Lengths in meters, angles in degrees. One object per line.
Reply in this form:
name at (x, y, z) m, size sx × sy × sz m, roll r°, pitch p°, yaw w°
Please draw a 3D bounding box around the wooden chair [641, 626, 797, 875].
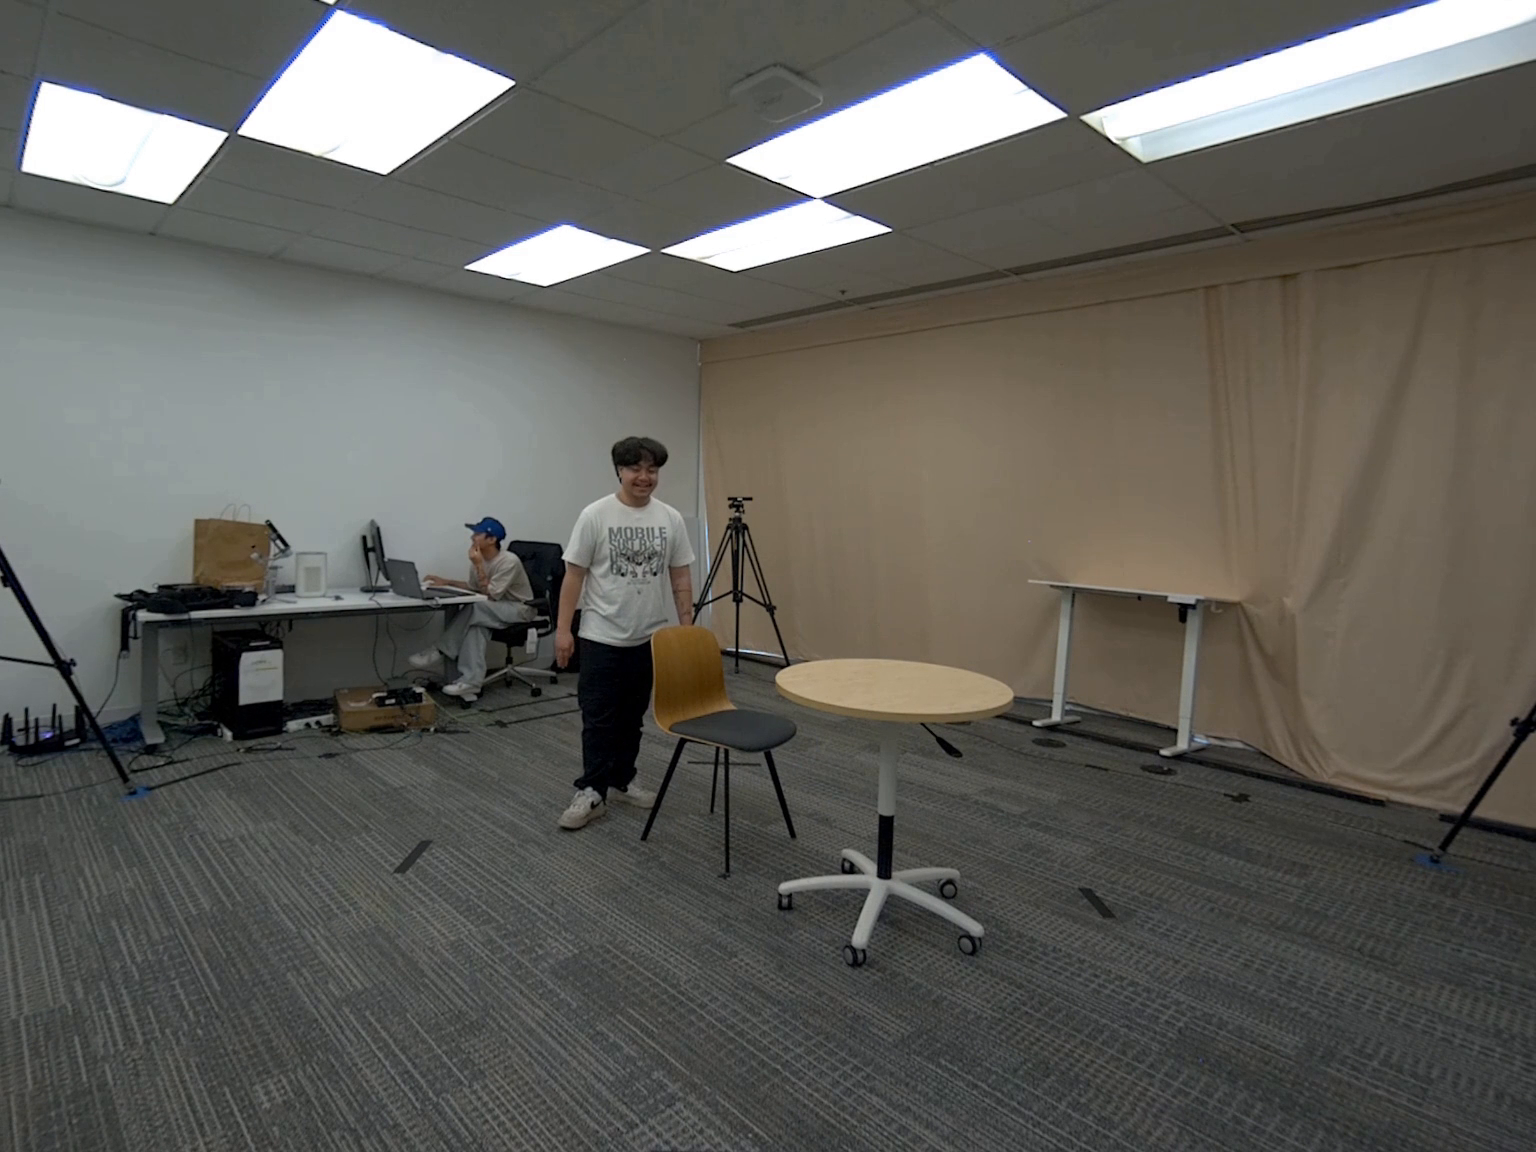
wooden chair at (-0.189, 0.652, 3.402) m, size 0.535 × 0.877 × 0.467 m, roll -2°, pitch 0°, yaw 38°
